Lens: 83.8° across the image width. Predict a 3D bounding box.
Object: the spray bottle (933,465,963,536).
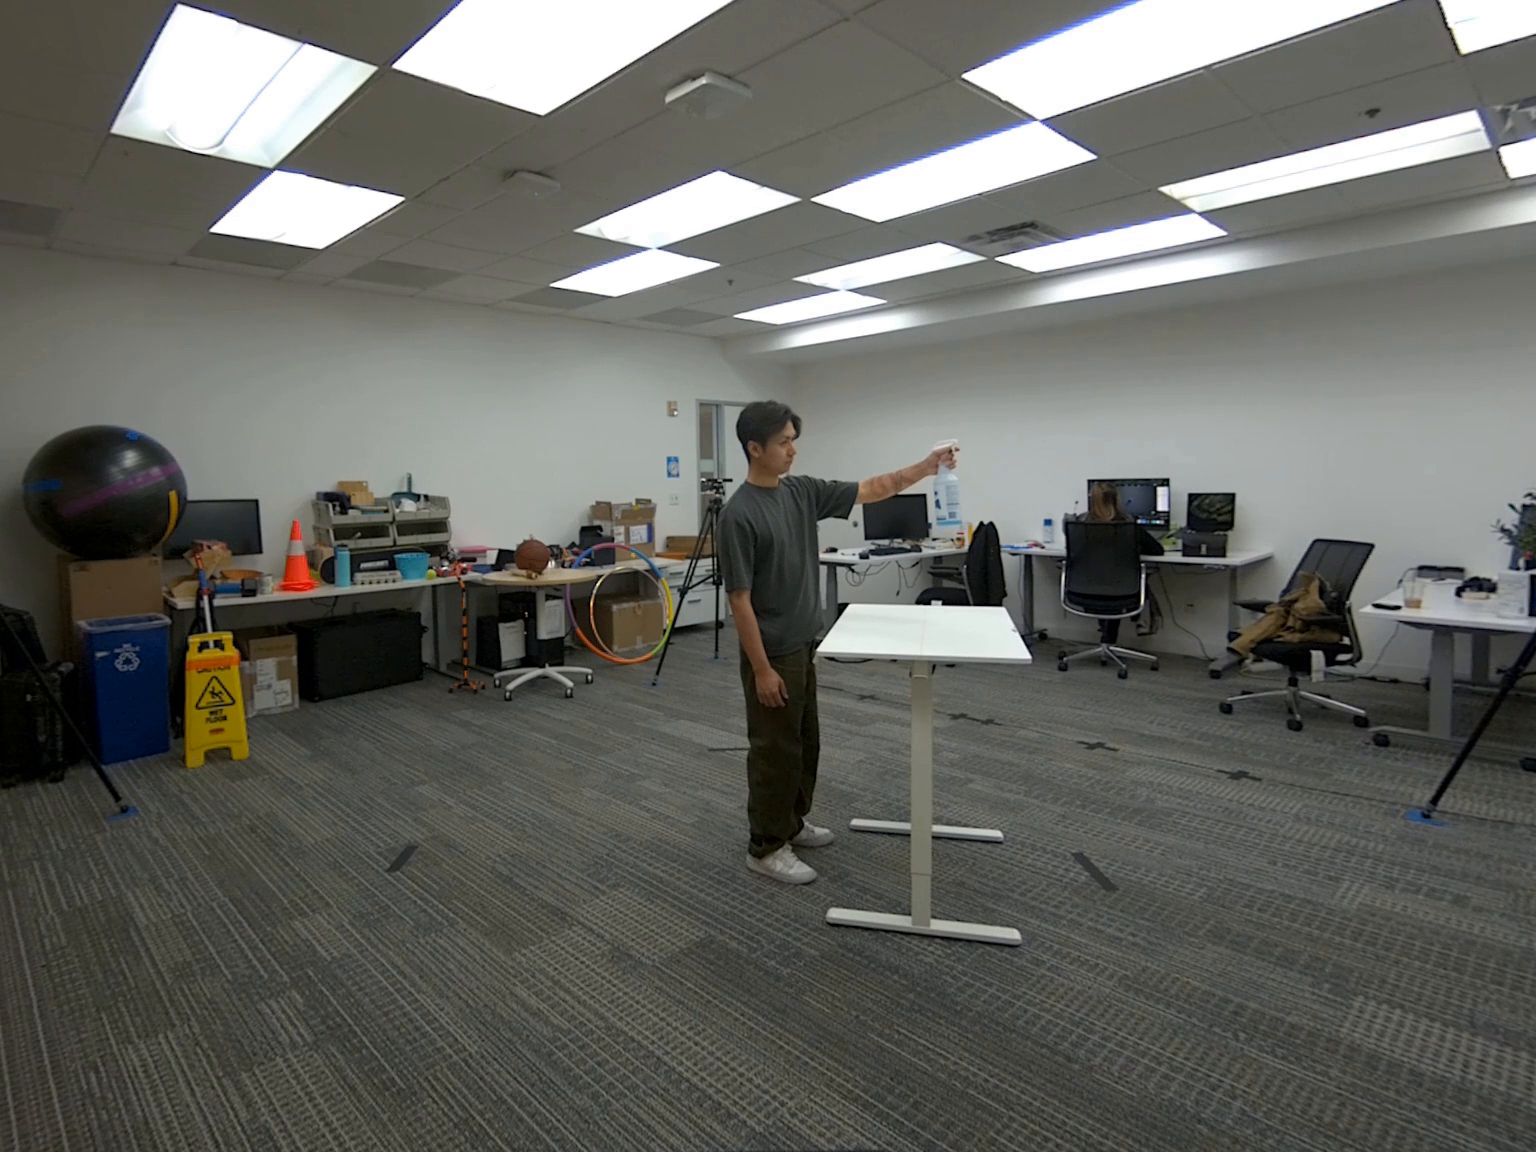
[{"bbox_3d":[0.624,-0.322,2.997,0.085,0.296,0.092,-7,3,-32],"label":"spray bottle"}]
